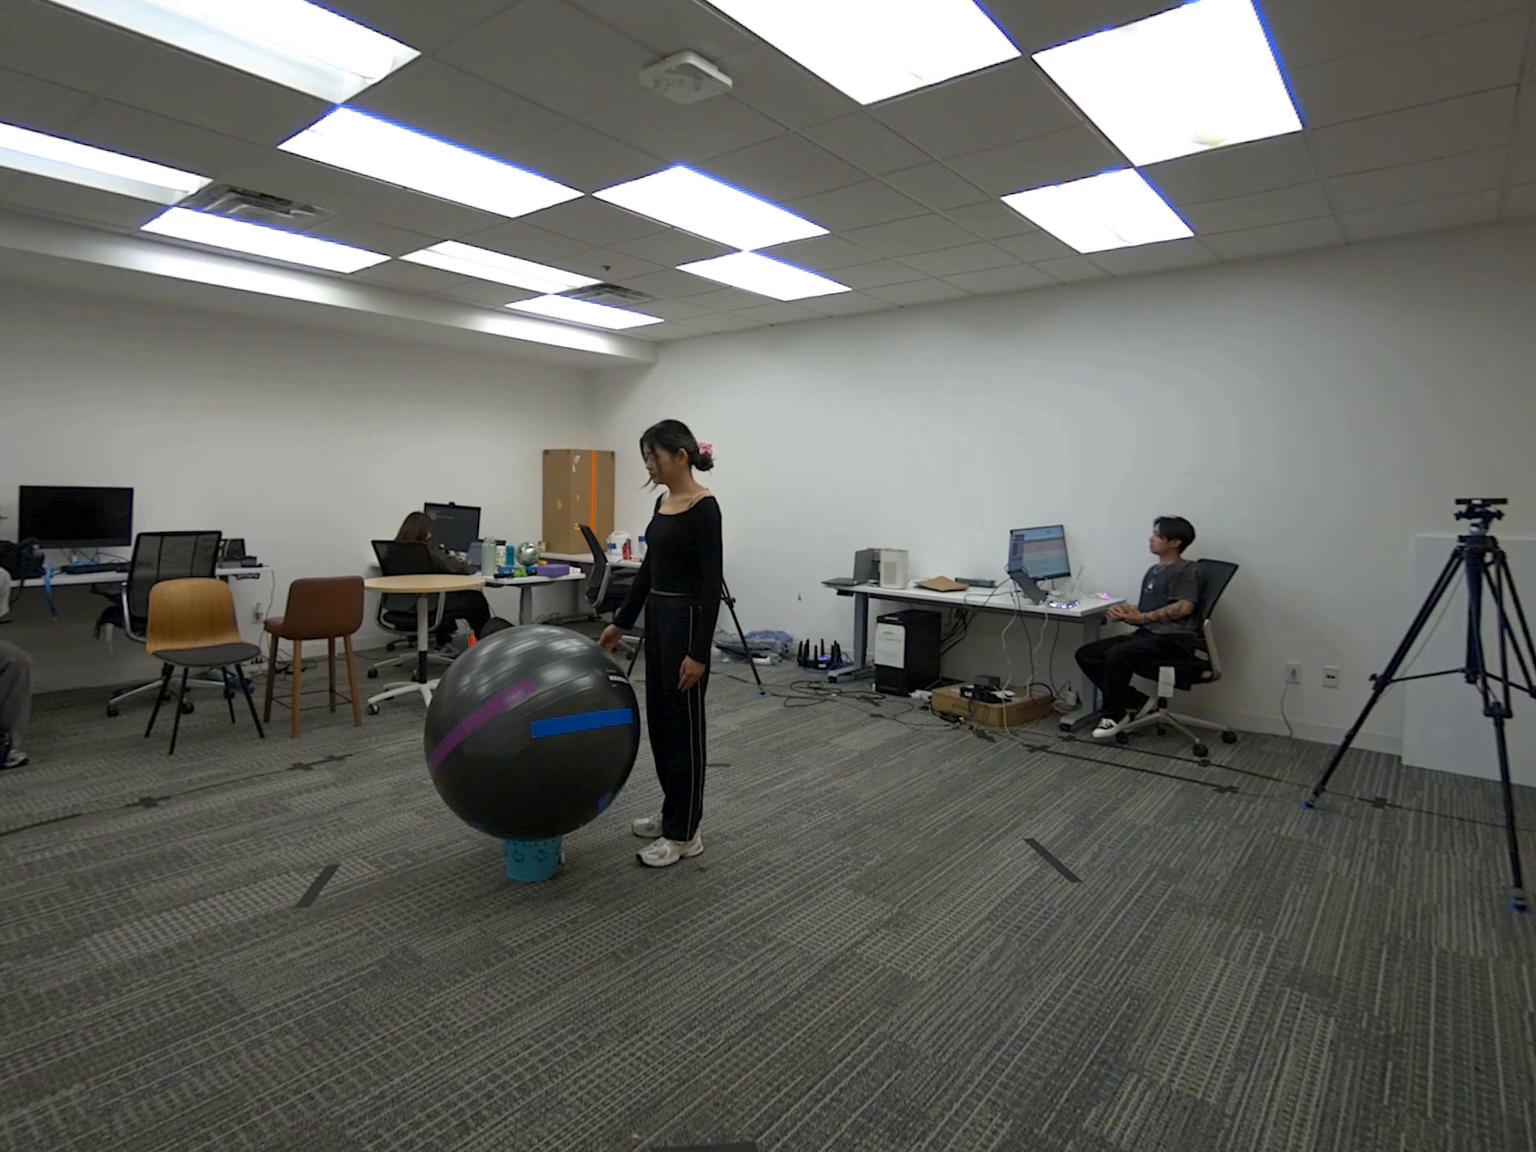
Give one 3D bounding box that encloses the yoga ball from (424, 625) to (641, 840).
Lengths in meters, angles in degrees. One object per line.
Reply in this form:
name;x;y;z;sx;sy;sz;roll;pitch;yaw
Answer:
yoga ball;-0.859;0.556;3.055;0.757;0.756;0.762;1;4;-2
